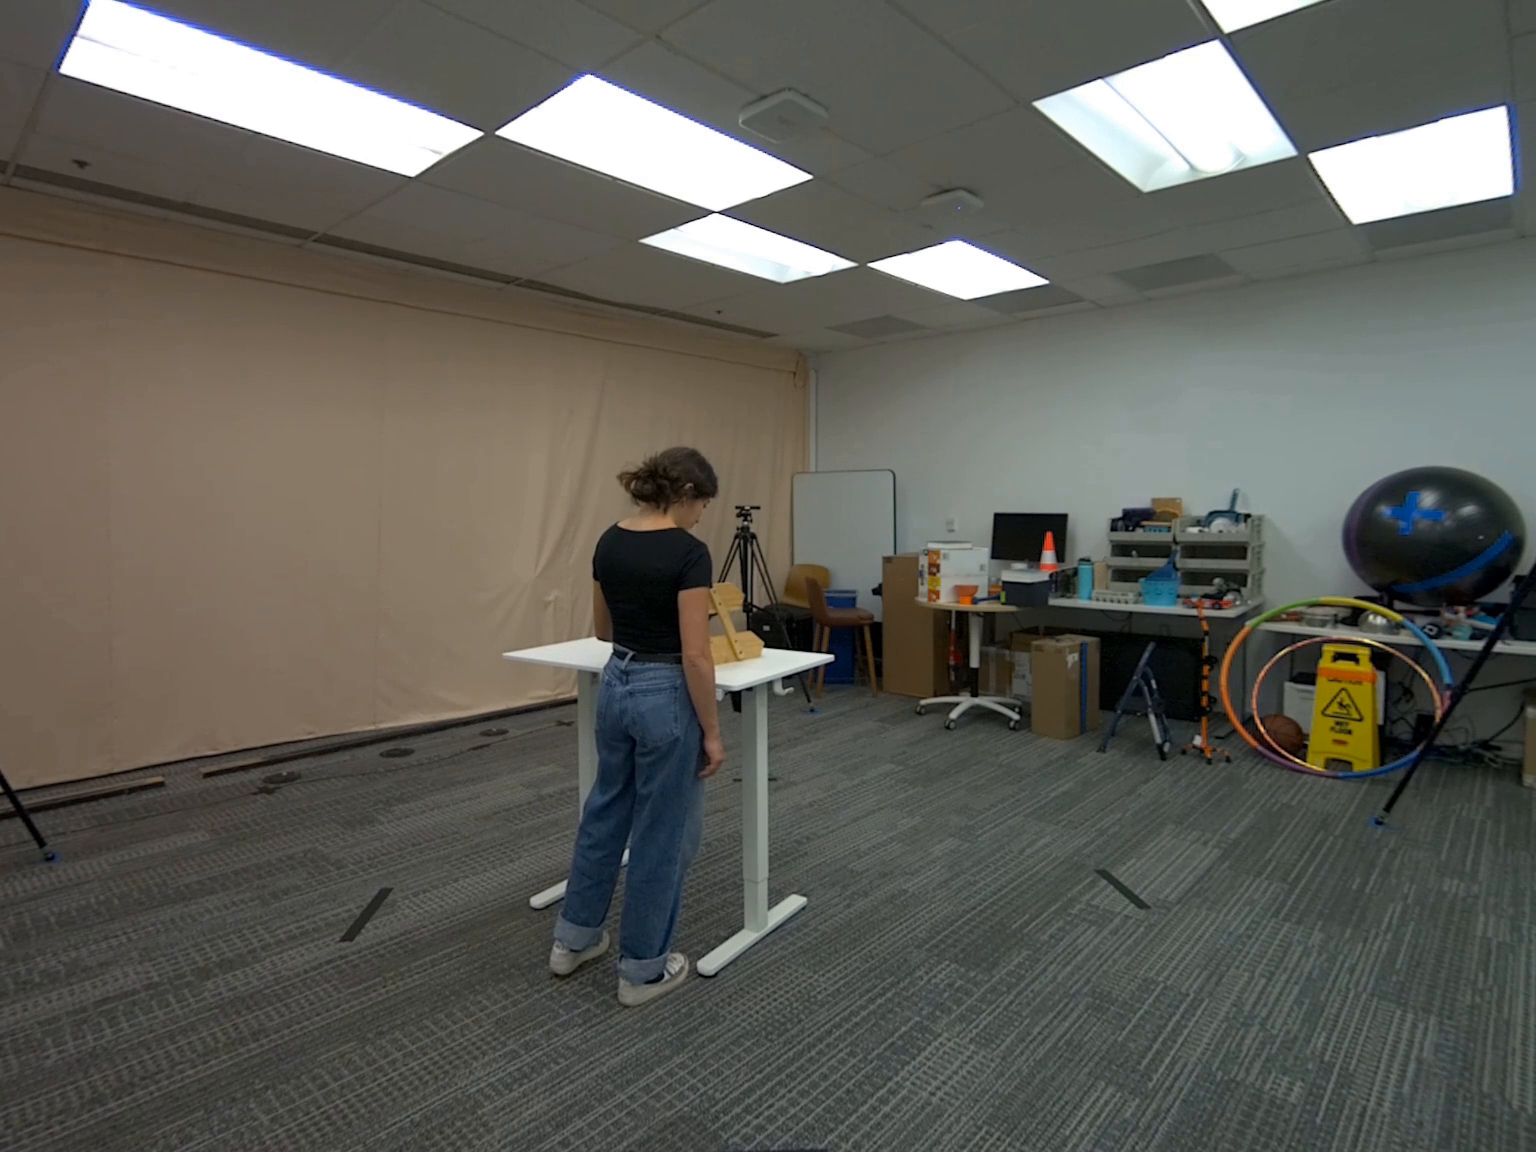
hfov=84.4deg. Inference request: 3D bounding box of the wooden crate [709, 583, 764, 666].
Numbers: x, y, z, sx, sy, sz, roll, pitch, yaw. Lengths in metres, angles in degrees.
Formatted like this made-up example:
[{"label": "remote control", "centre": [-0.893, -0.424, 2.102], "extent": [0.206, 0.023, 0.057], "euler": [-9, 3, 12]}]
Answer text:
[{"label": "wooden crate", "centre": [-0.224, 0.140, 2.843], "extent": [0.335, 0.273, 0.293], "euler": [2, 5, 44]}]
